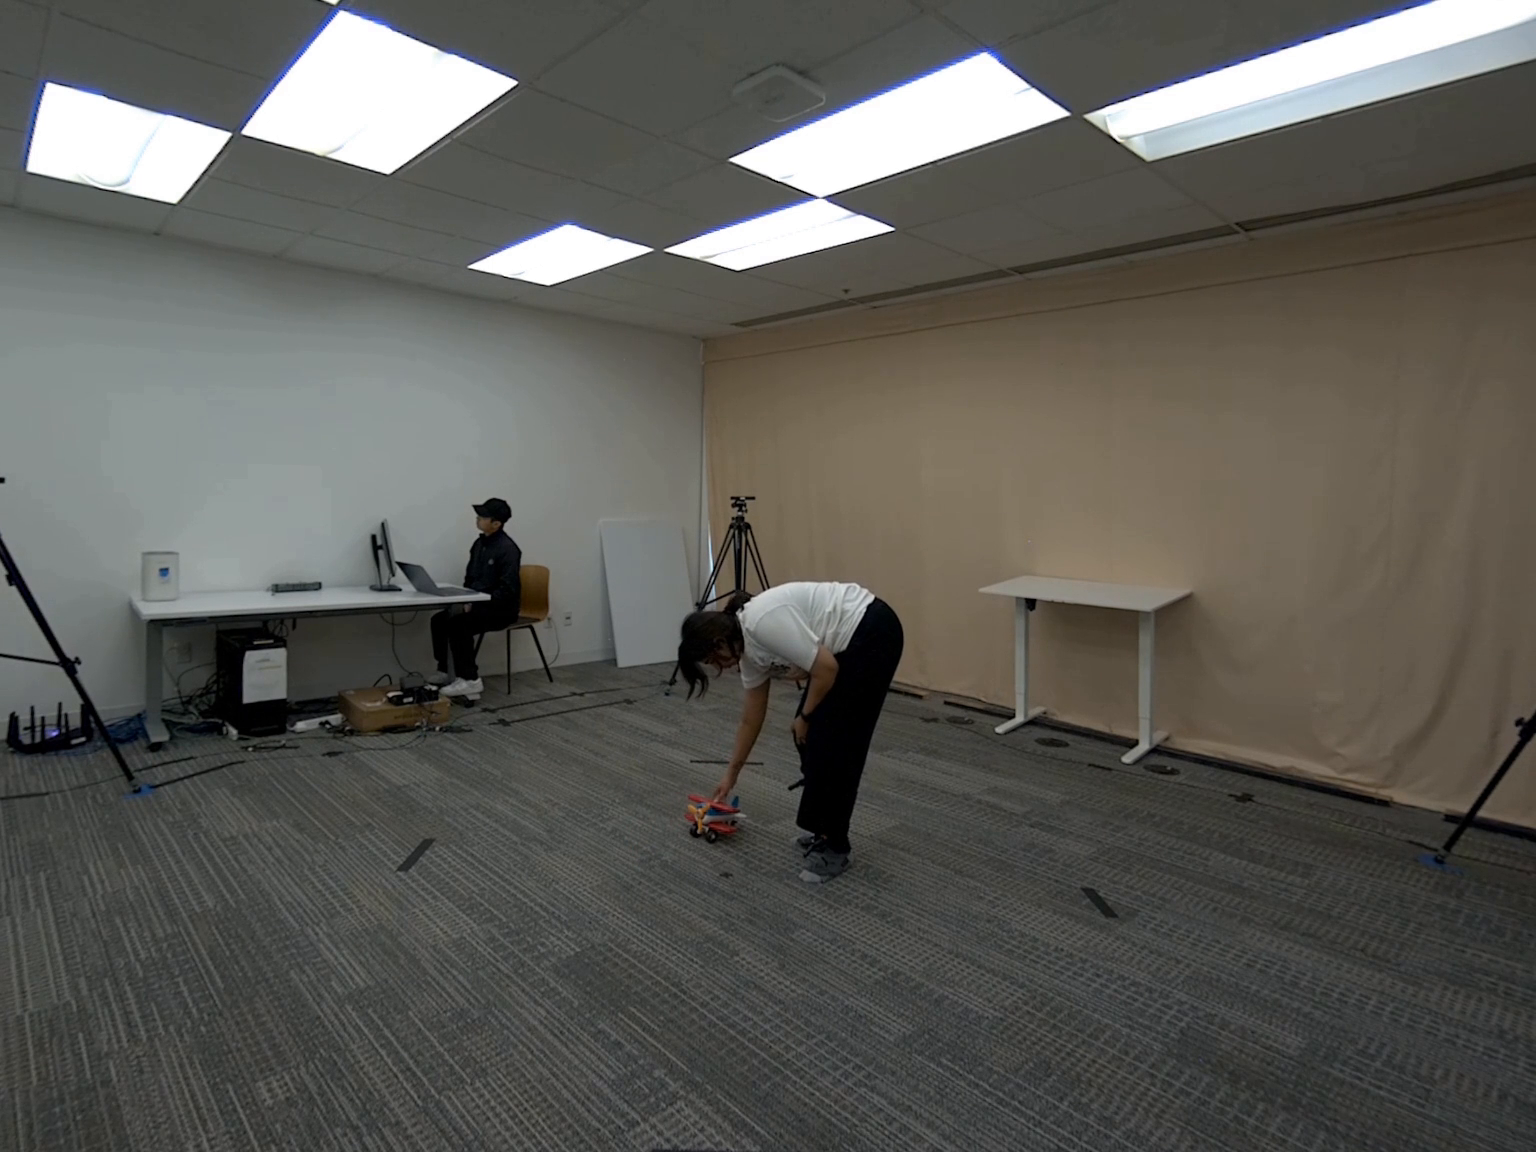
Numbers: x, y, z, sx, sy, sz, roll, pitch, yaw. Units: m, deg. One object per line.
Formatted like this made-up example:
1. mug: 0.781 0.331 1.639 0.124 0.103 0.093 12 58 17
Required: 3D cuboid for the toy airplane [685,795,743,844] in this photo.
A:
1. toy airplane: -0.232 0.985 3.498 0.253 0.156 0.258 2 6 10
